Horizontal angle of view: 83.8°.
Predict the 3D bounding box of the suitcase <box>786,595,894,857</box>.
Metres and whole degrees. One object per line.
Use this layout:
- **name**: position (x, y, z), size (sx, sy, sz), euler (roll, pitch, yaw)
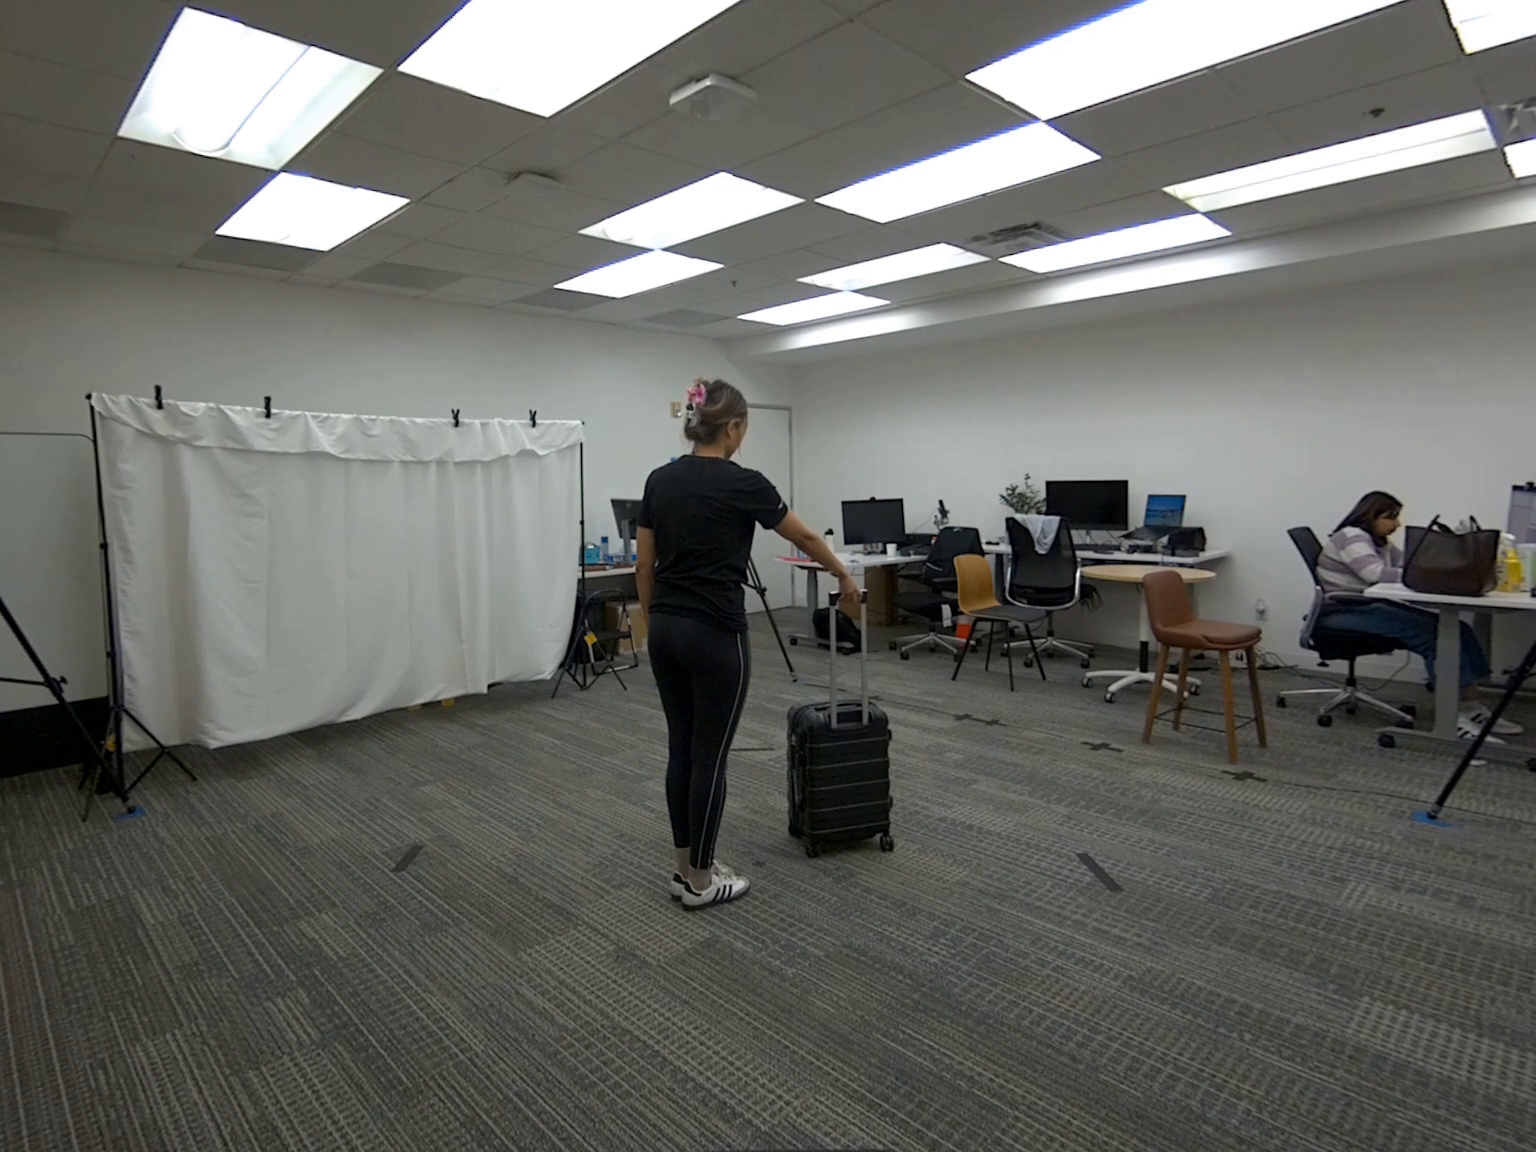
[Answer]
- **suitcase**: position (0.266, 0.549, 3.259), size (0.379, 0.976, 0.261), euler (-1, 2, -15)
